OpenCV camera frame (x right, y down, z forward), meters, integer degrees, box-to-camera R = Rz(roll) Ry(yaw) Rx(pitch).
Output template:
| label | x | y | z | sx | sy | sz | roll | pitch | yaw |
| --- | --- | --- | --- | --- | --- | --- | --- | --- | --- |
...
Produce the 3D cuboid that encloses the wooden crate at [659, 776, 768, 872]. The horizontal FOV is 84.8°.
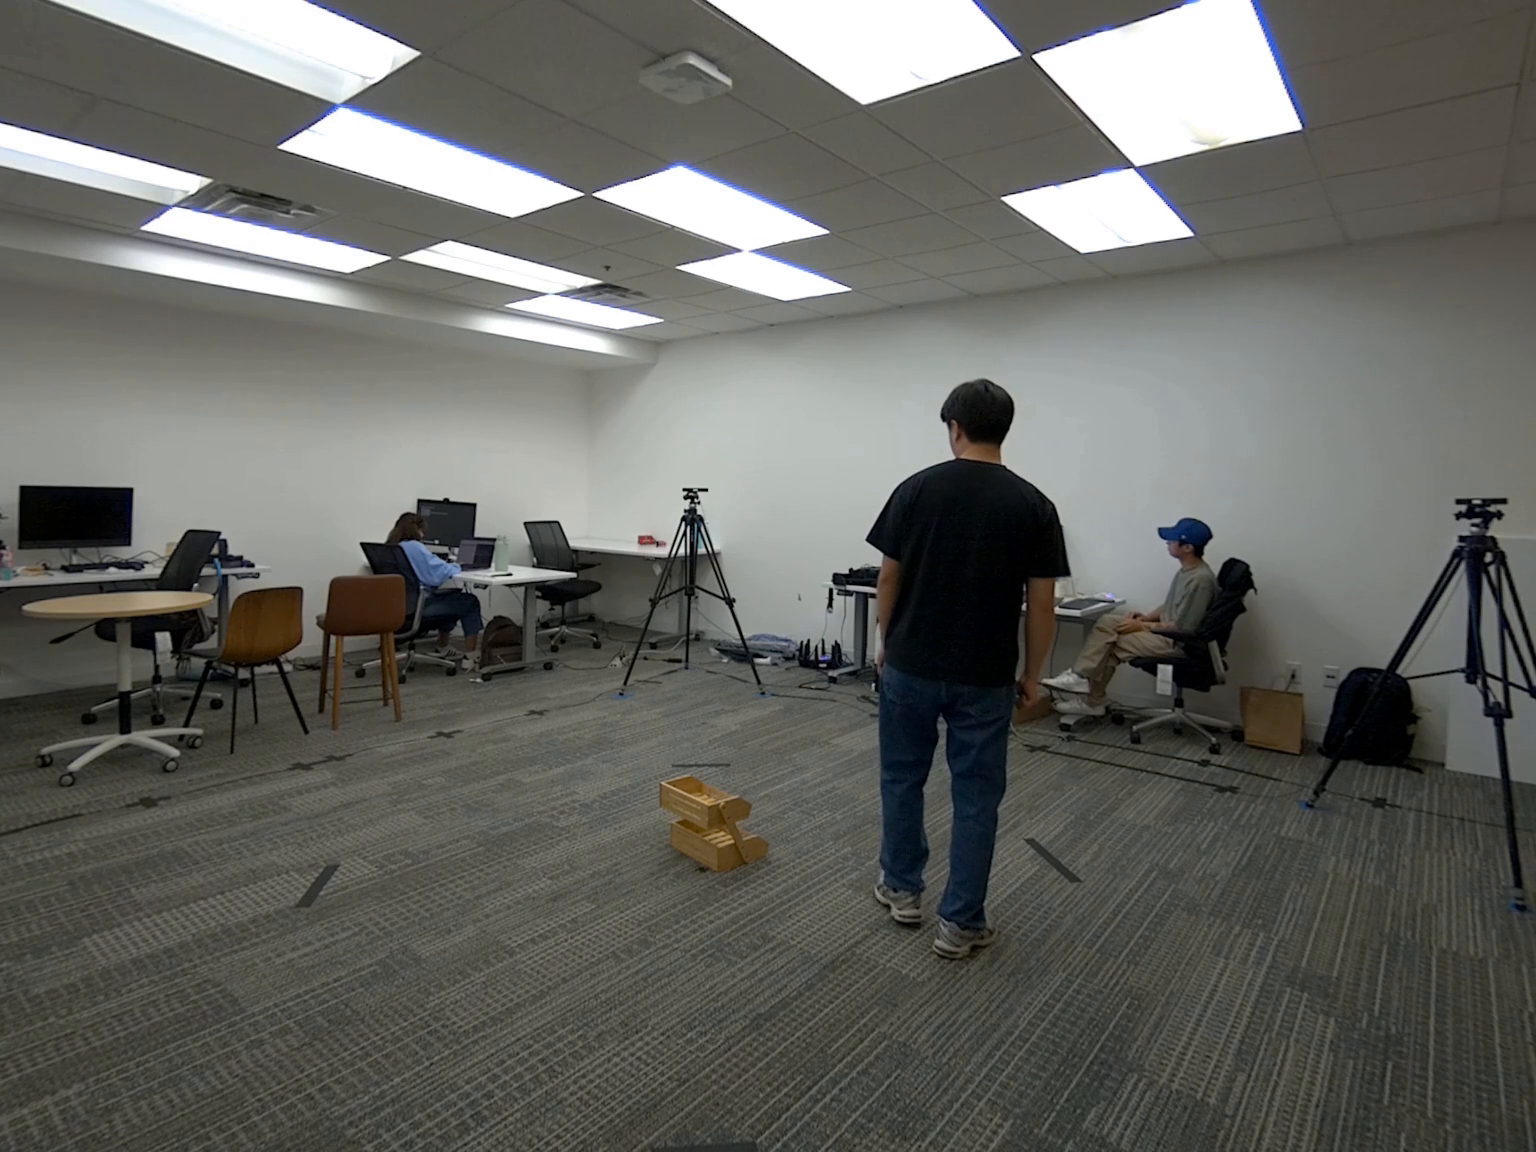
| label | x | y | z | sx | sy | sz | roll | pitch | yaw |
| --- | --- | --- | --- | --- | --- | --- | --- | --- | --- |
| wooden crate | -0.214 | 0.920 | 3.256 | 0.293 | 0.272 | 0.335 | -4 | 6 | -41 |
